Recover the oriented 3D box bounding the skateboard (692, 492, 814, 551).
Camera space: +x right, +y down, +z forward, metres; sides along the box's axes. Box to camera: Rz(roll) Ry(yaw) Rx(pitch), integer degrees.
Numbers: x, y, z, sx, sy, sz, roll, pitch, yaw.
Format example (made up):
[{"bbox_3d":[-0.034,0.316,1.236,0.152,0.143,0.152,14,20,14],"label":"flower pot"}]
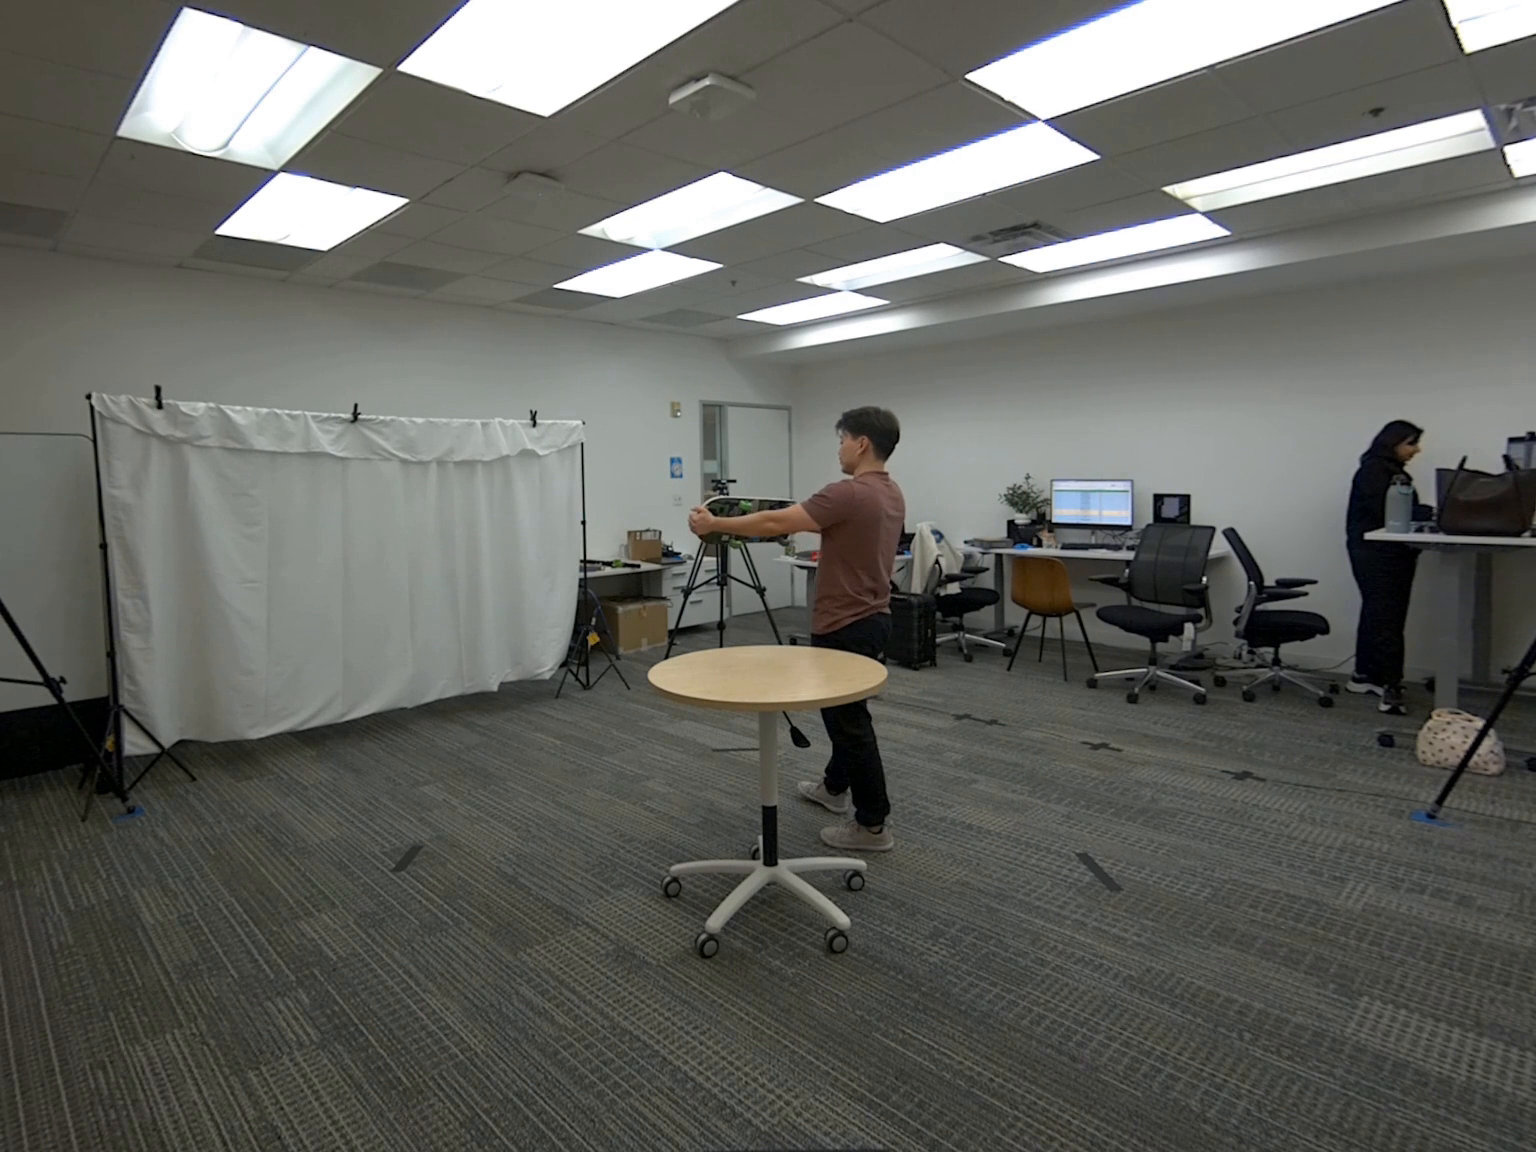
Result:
[{"bbox_3d":[-0.026,-0.223,3.508,0.114,0.192,0.766,18,11,28],"label":"skateboard"}]
